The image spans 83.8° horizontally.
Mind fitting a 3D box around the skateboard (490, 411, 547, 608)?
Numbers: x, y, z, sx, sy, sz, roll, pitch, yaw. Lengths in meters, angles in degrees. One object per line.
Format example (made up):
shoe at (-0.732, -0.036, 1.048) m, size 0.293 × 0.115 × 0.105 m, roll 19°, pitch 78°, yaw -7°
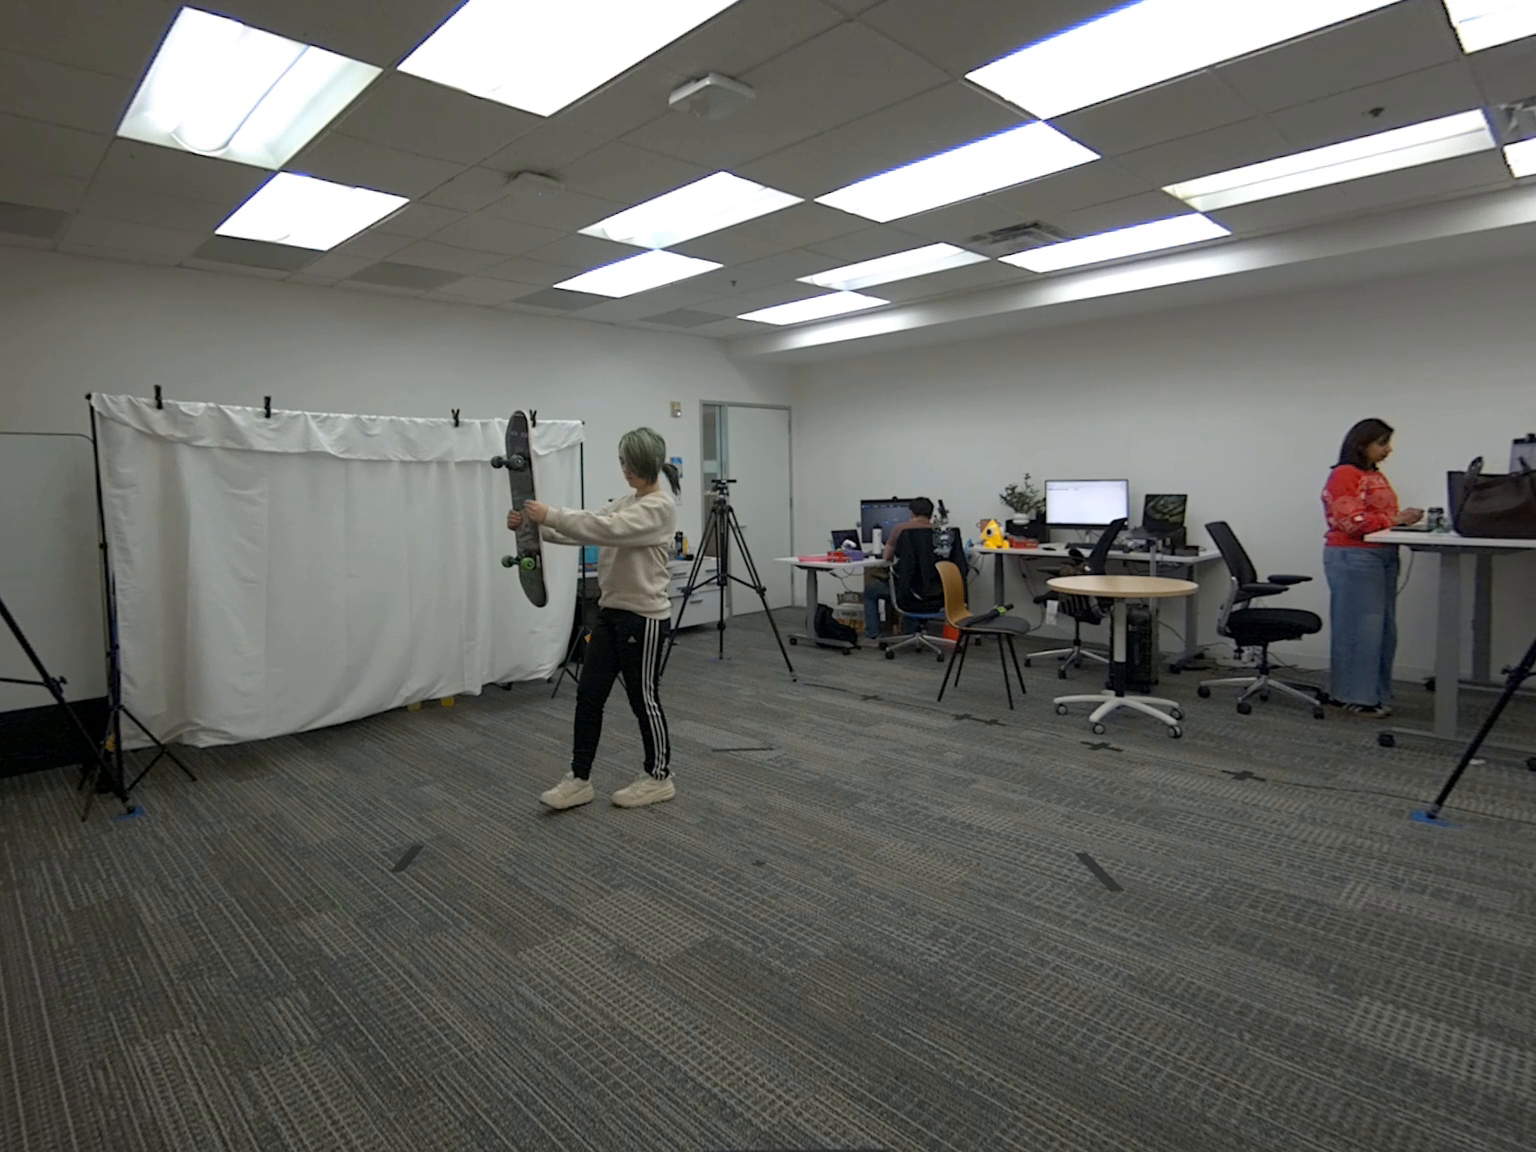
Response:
skateboard at (-0.976, -0.249, 3.363) m, size 0.108 × 0.779 × 0.199 m, roll -11°, pitch 11°, yaw -42°
